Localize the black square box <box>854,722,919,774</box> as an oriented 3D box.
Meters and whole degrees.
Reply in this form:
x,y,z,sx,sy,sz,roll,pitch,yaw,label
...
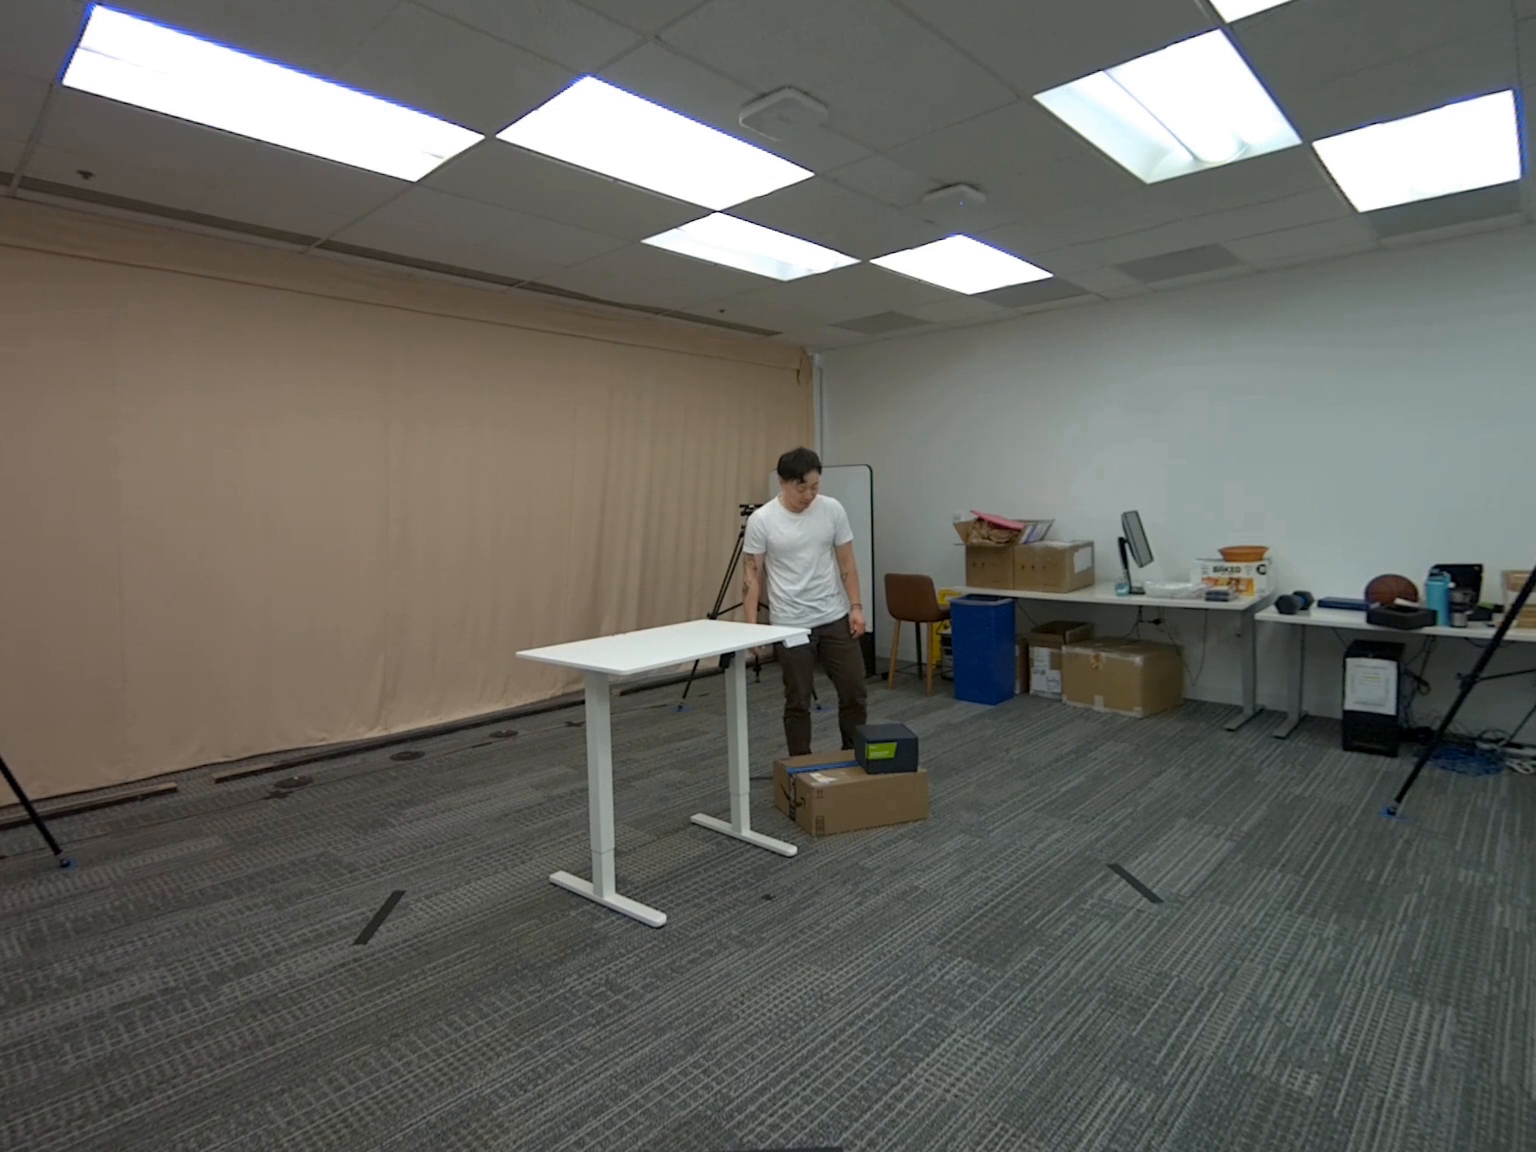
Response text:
x,y,z,sx,sy,sz,roll,pitch,yaw,label
0.521,0.761,3.748,0.226,0.155,0.219,-2,5,-7,black square box
